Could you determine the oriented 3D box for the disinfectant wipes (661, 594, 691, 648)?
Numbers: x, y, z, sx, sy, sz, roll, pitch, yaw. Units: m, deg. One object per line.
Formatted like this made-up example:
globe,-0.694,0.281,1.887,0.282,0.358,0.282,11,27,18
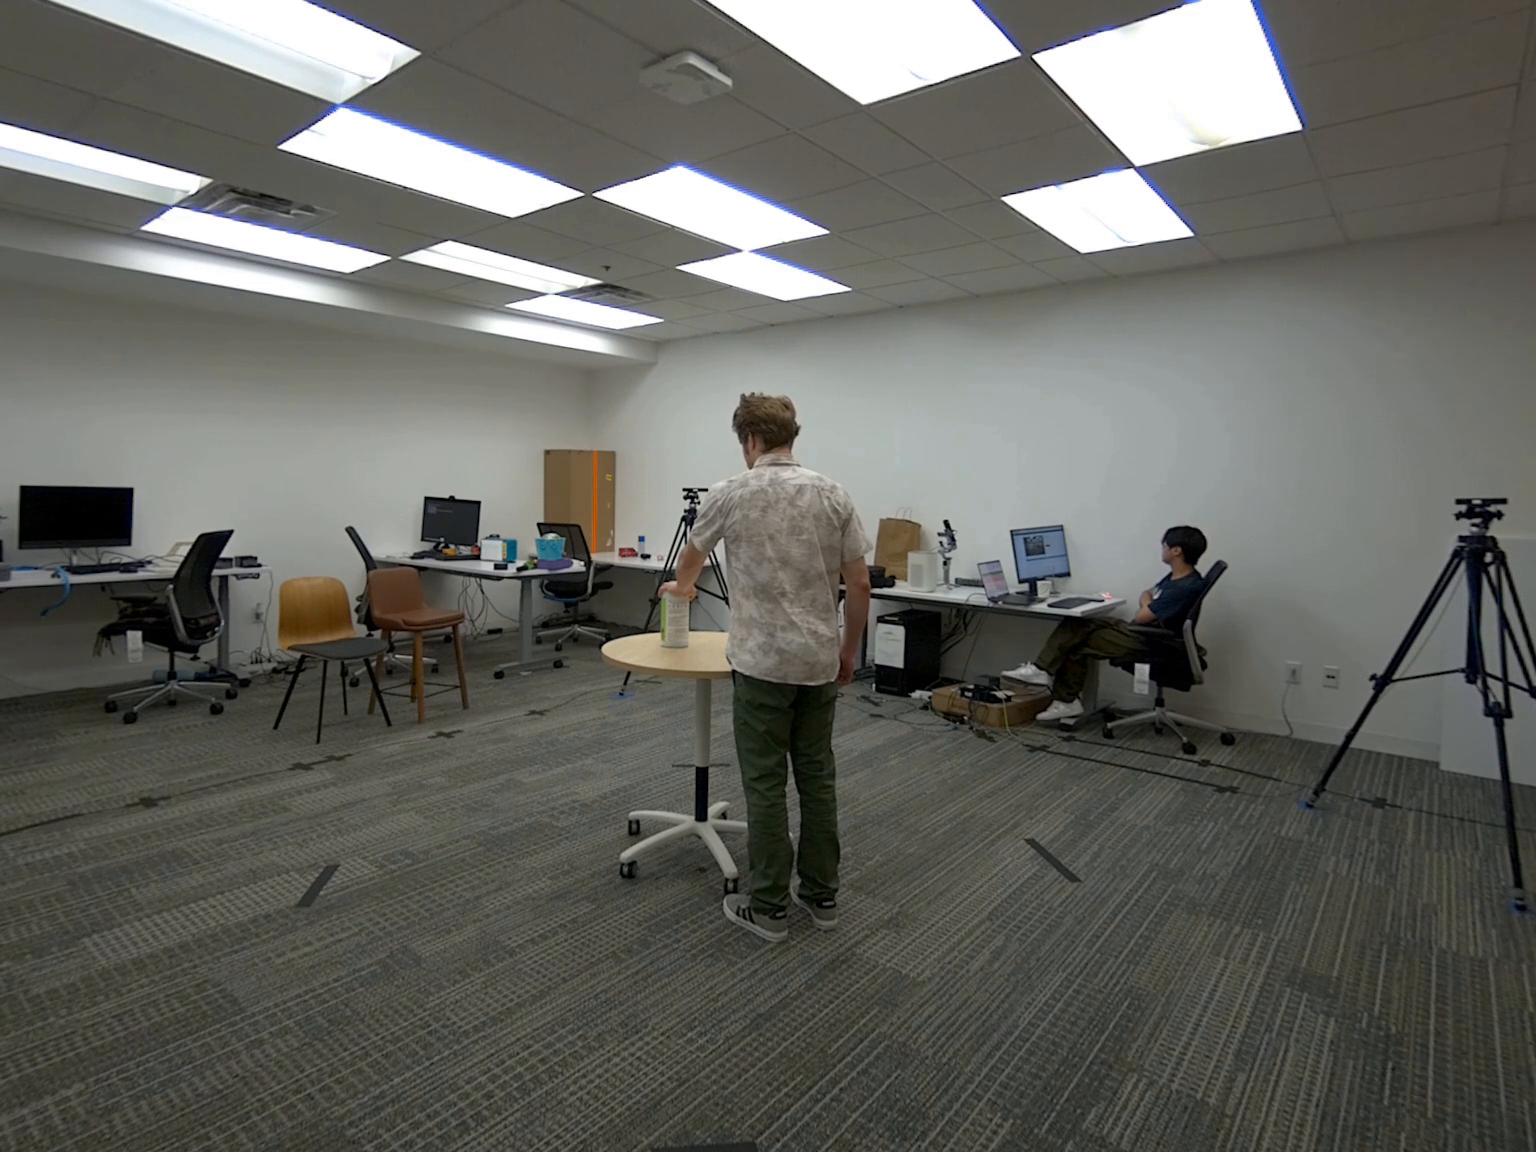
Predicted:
disinfectant wipes,-0.364,0.159,3.236,0.118,0.217,0.118,-1,2,-2
